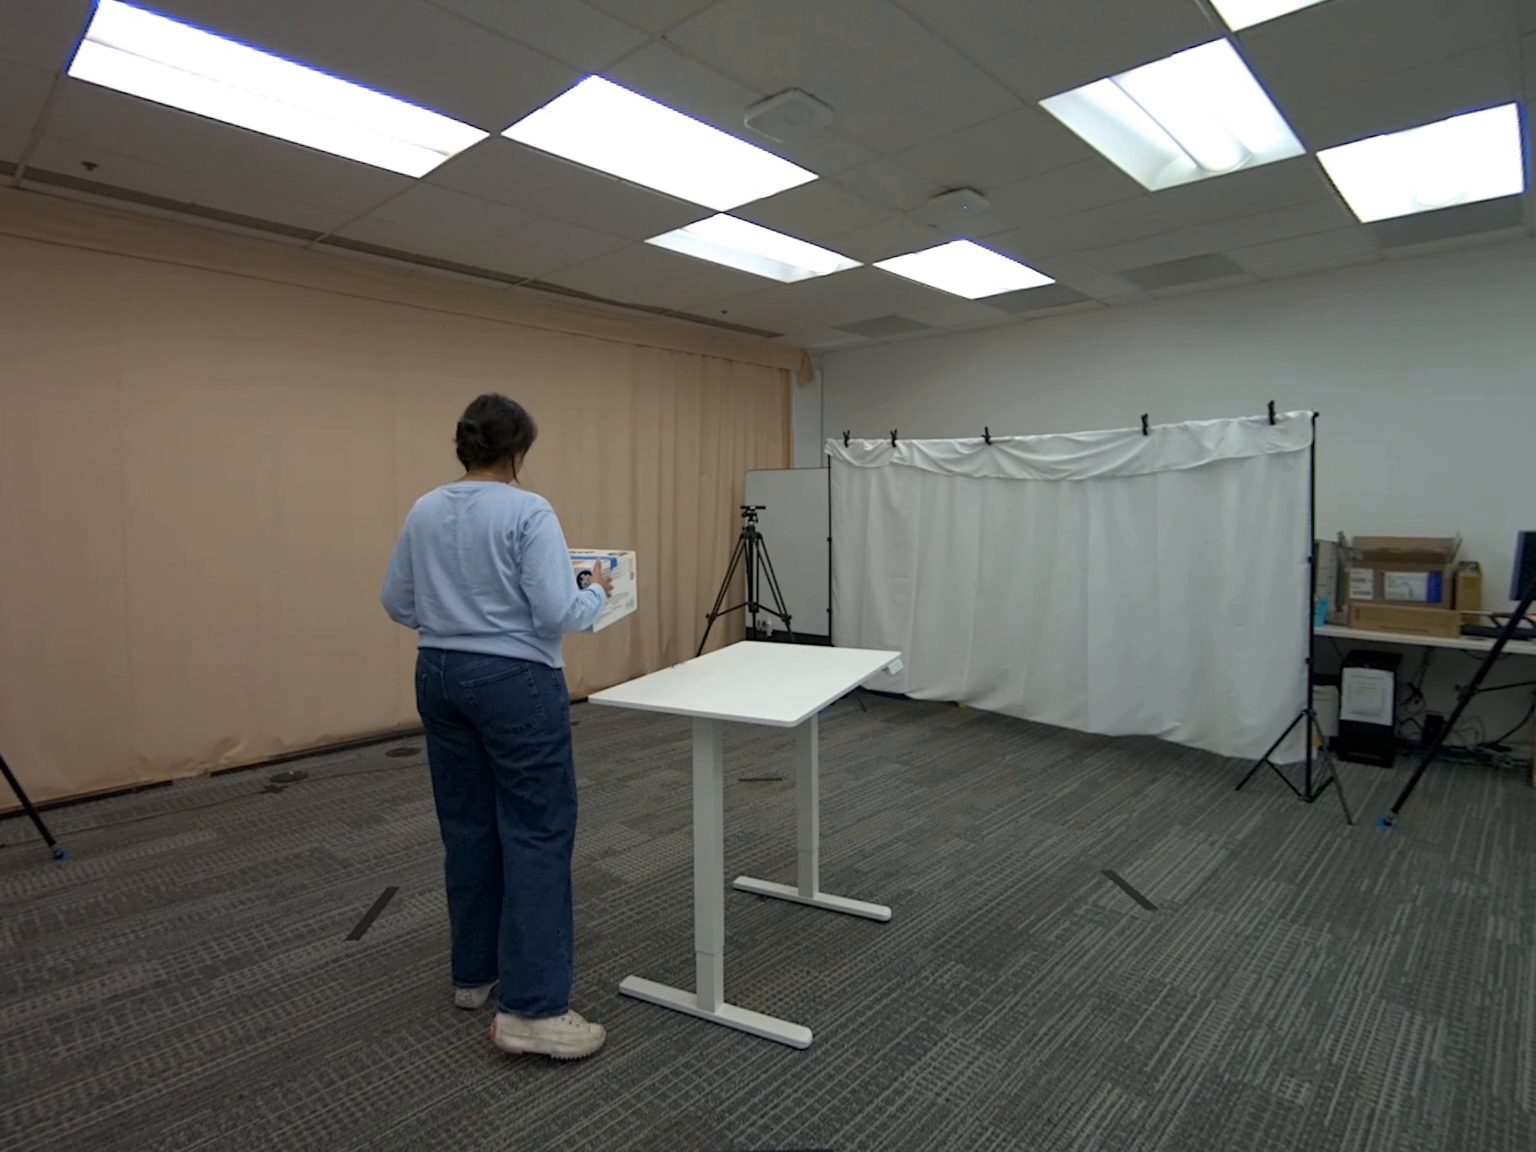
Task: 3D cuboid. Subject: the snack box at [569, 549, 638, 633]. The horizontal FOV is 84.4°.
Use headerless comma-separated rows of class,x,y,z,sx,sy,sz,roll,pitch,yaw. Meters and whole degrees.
snack box,-0.673,0.034,2.691,0.412,0.205,0.336,2,9,15
